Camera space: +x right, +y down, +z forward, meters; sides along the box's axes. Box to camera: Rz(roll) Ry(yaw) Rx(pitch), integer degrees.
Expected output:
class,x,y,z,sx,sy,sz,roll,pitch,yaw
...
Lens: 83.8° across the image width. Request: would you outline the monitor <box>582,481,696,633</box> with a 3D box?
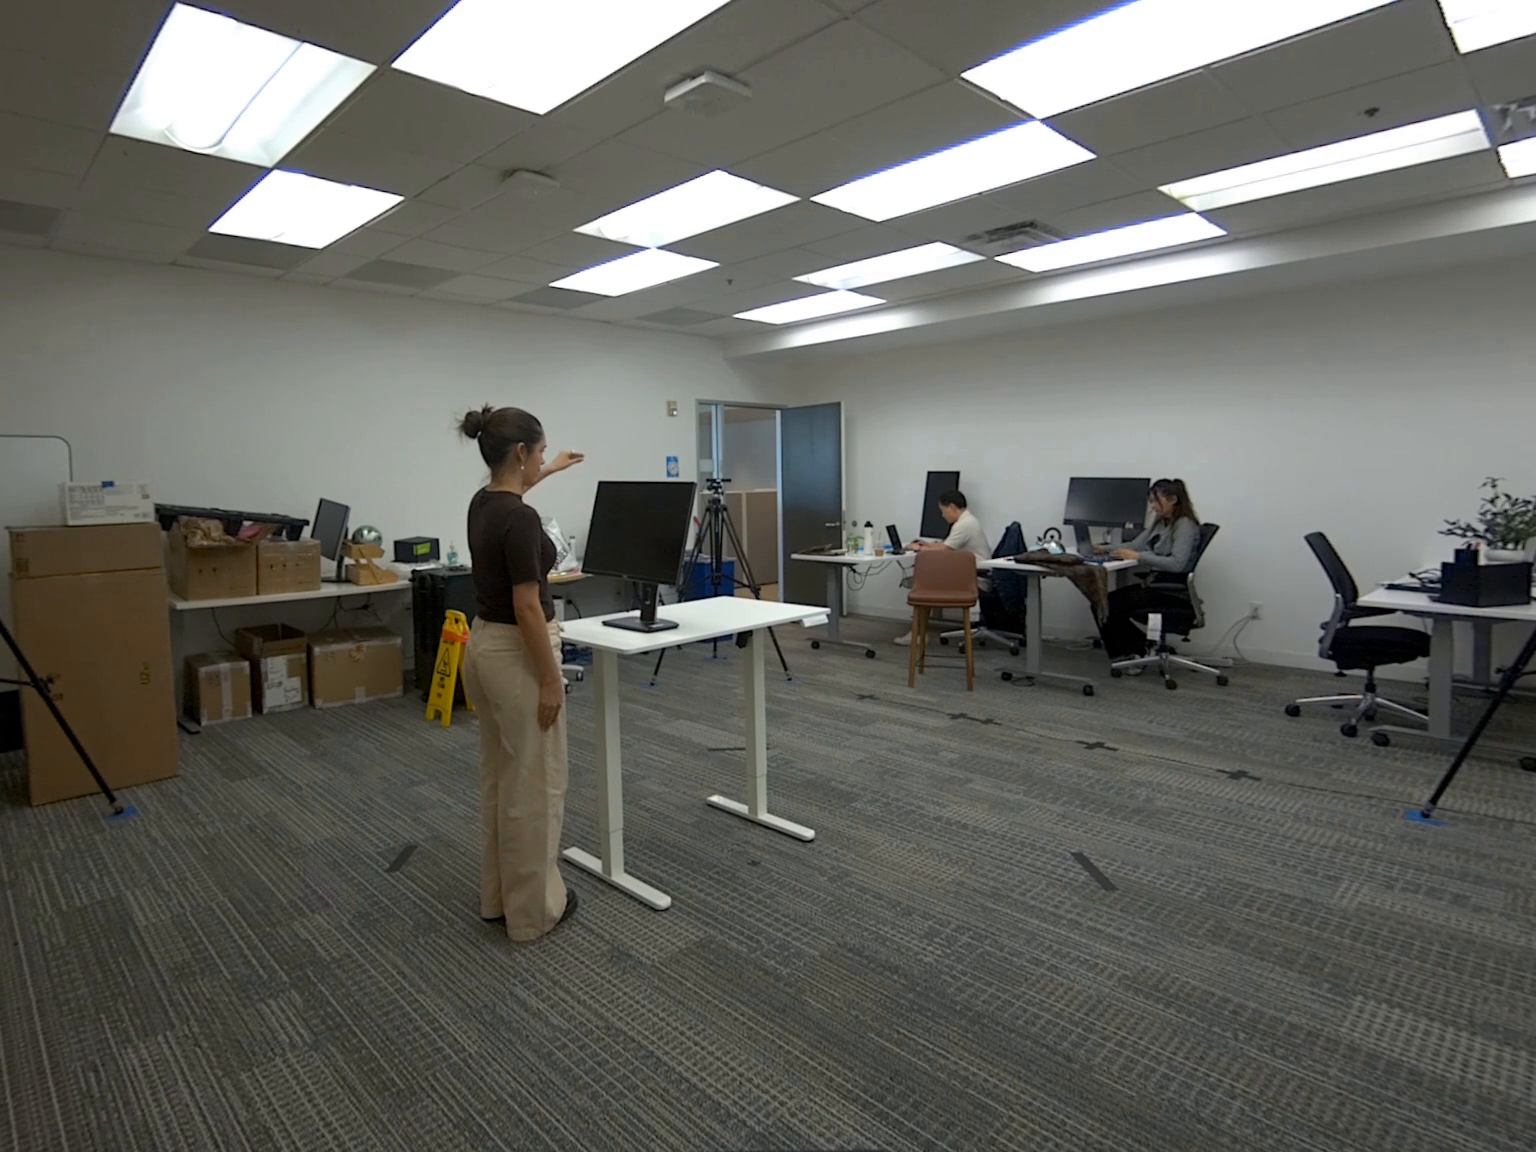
class,x,y,z,sx,sy,sz,roll,pitch,yaw
monitor,-0.446,-0.073,3.031,0.556,0.521,0.182,5,4,42
